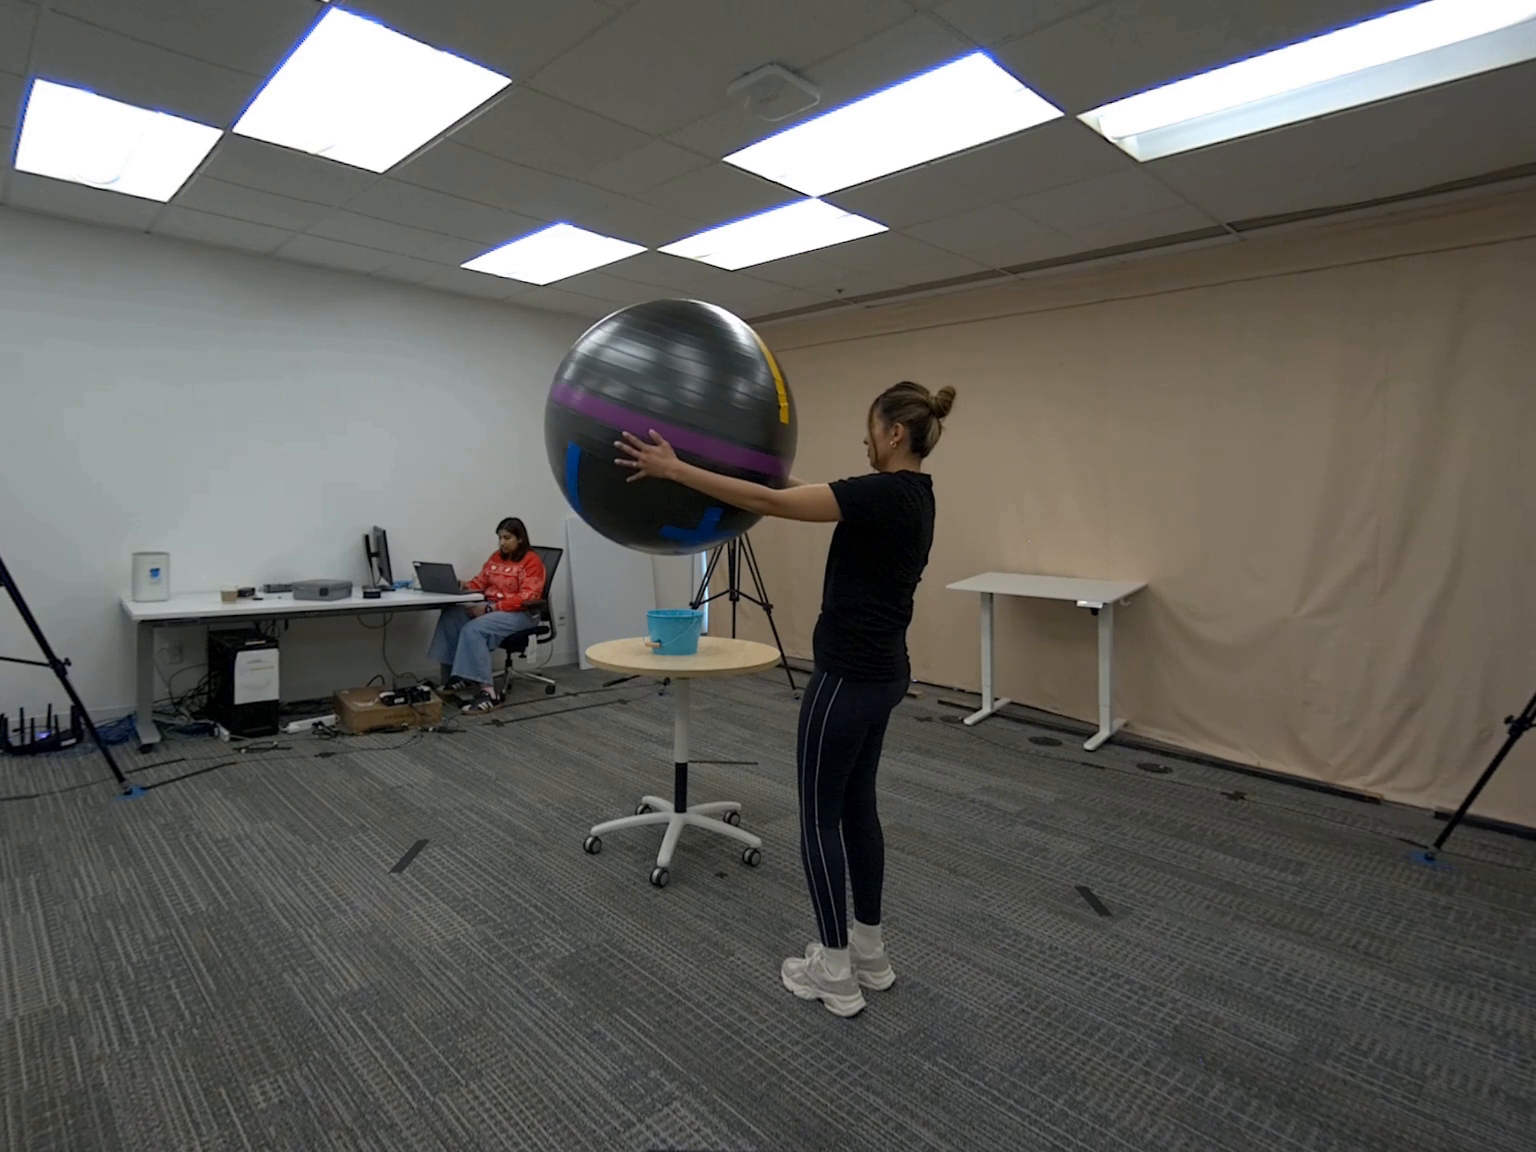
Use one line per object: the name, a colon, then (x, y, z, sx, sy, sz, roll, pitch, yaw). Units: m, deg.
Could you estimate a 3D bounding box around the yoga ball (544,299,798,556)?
yoga ball: (-0.300, -0.426, 2.539, 0.757, 0.756, 0.761, 1, 4, -1)
